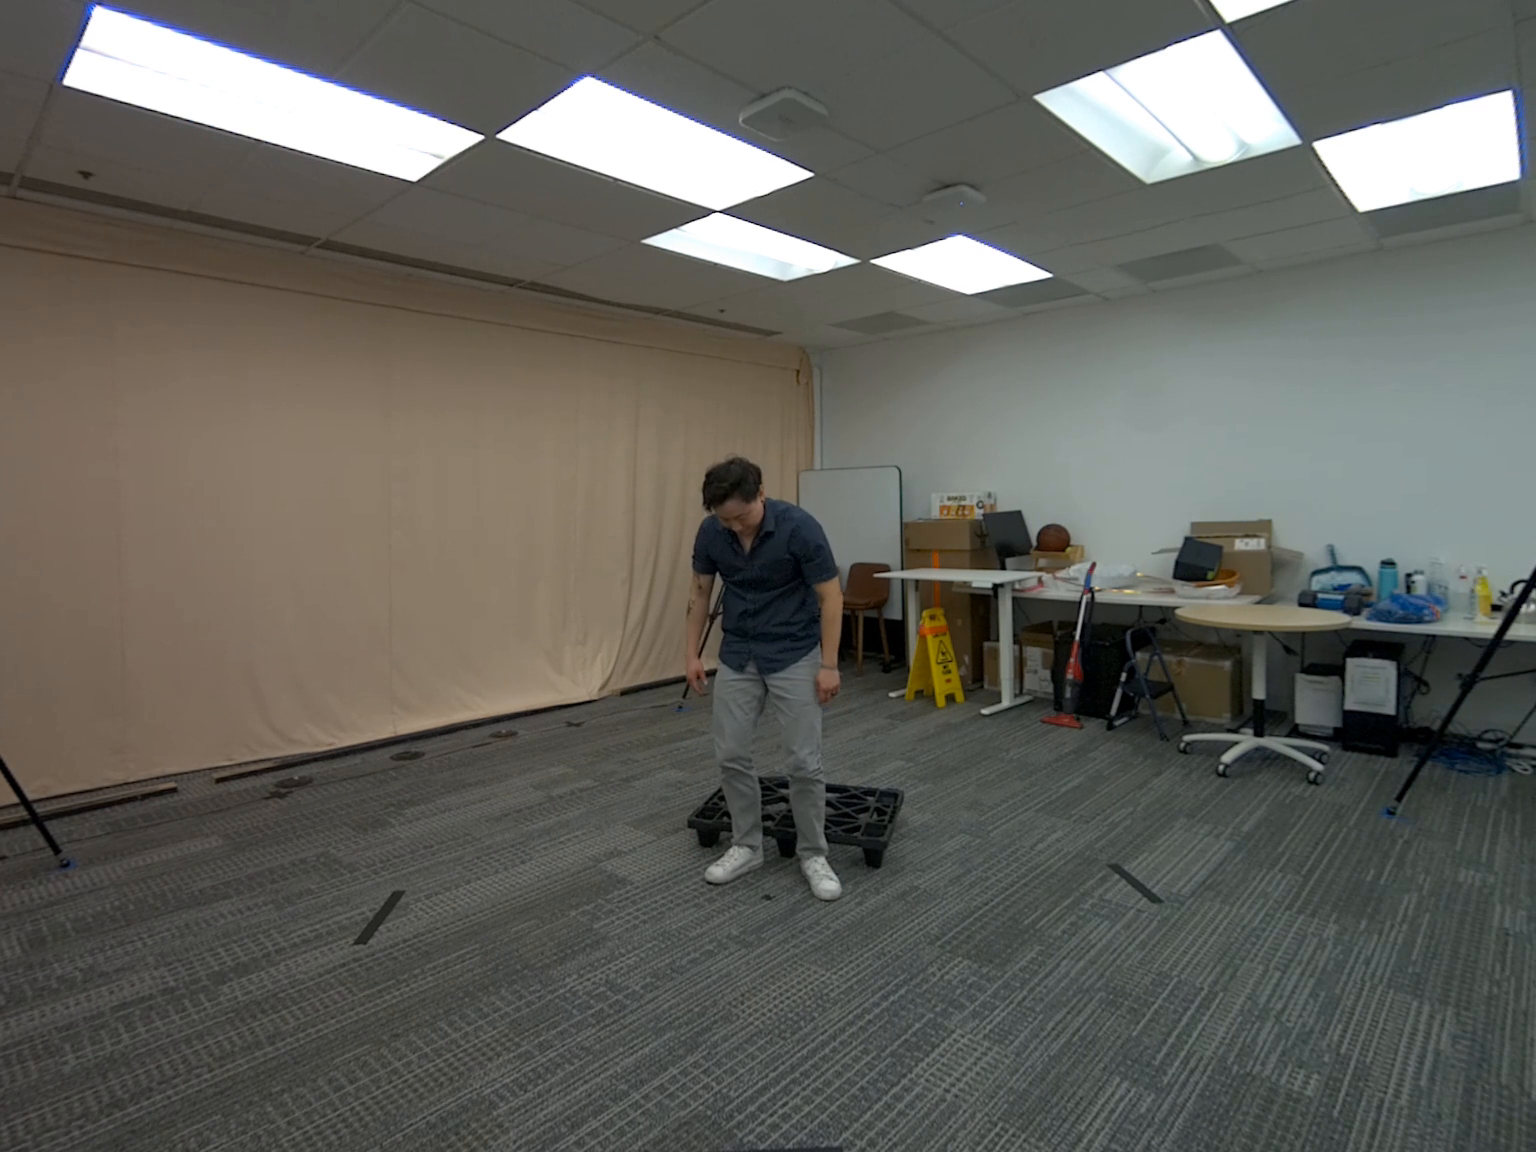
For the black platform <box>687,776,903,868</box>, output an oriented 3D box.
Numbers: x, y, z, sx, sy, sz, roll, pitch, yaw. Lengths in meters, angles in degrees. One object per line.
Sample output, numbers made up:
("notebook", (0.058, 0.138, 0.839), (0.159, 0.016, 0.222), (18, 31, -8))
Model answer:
("black platform", (0.141, 1.021, 3.528), (0.821, 0.143, 0.595), (0, 5, 18))
